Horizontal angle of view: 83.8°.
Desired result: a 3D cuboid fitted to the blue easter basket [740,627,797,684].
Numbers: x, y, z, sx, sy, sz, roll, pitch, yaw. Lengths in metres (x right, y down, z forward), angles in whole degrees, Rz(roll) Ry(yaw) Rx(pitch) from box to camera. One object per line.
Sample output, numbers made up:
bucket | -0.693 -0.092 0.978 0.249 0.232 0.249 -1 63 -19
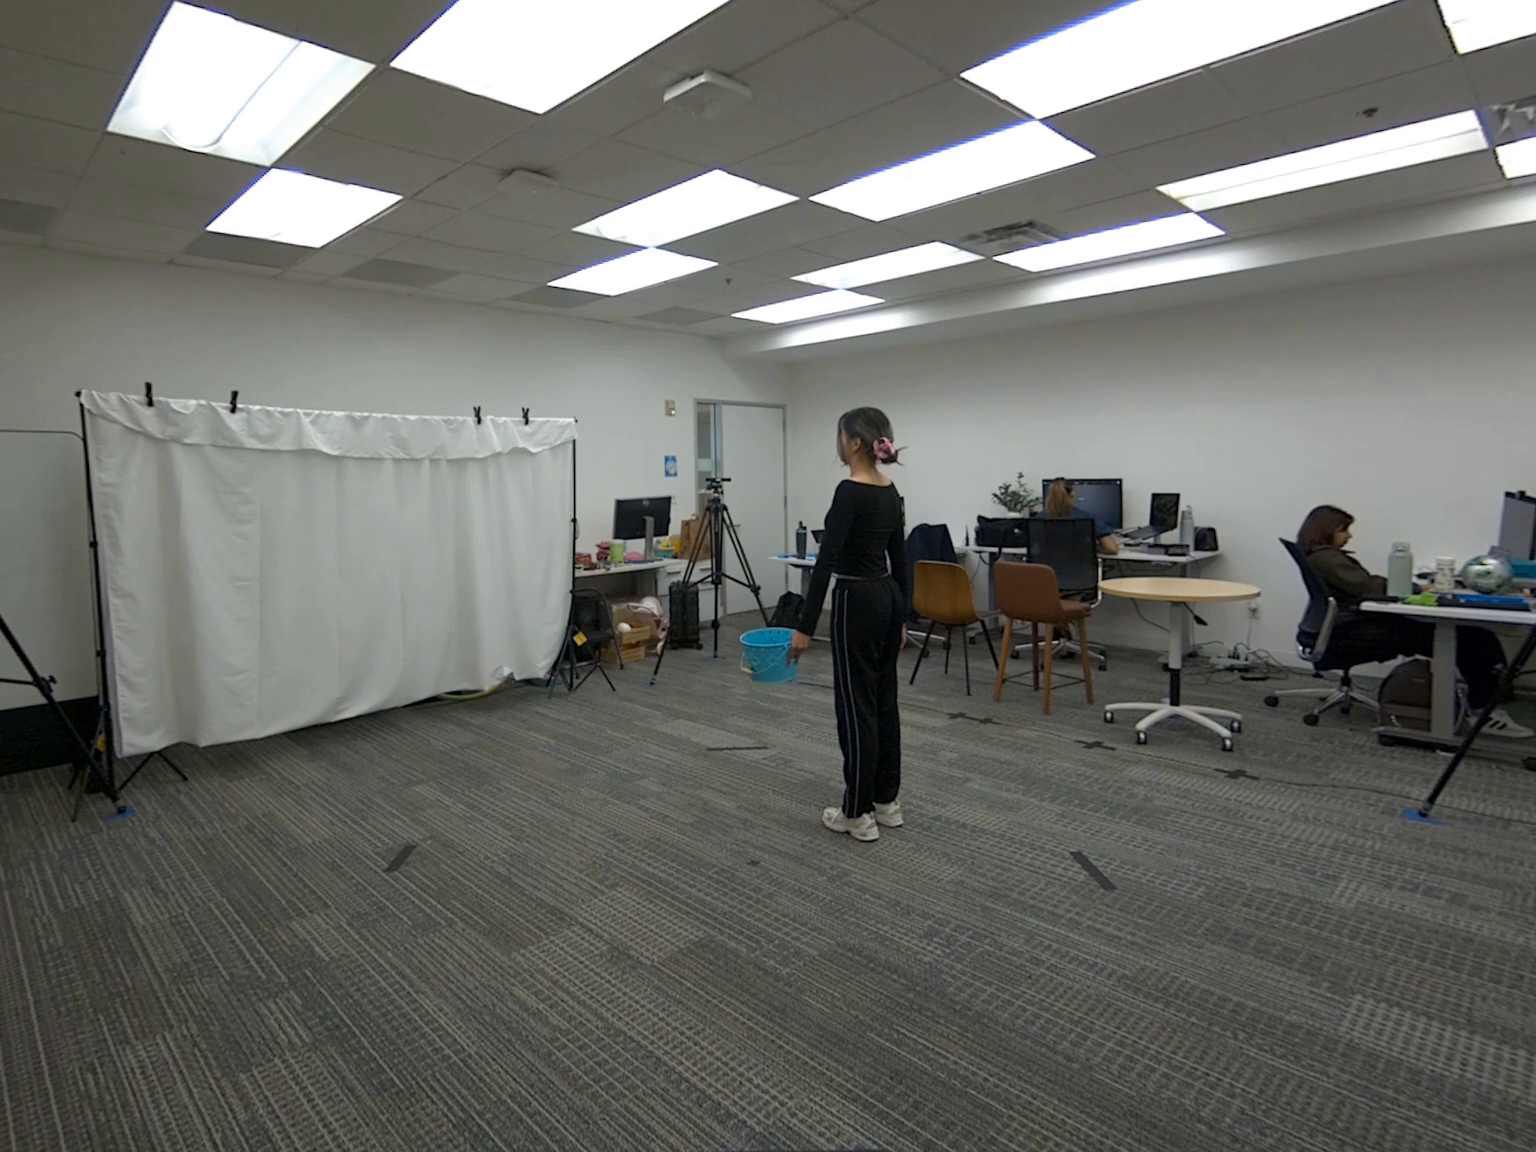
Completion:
blue easter basket | 0.014 0.301 3.242 0.243 0.154 0.246 -4 10 -1
